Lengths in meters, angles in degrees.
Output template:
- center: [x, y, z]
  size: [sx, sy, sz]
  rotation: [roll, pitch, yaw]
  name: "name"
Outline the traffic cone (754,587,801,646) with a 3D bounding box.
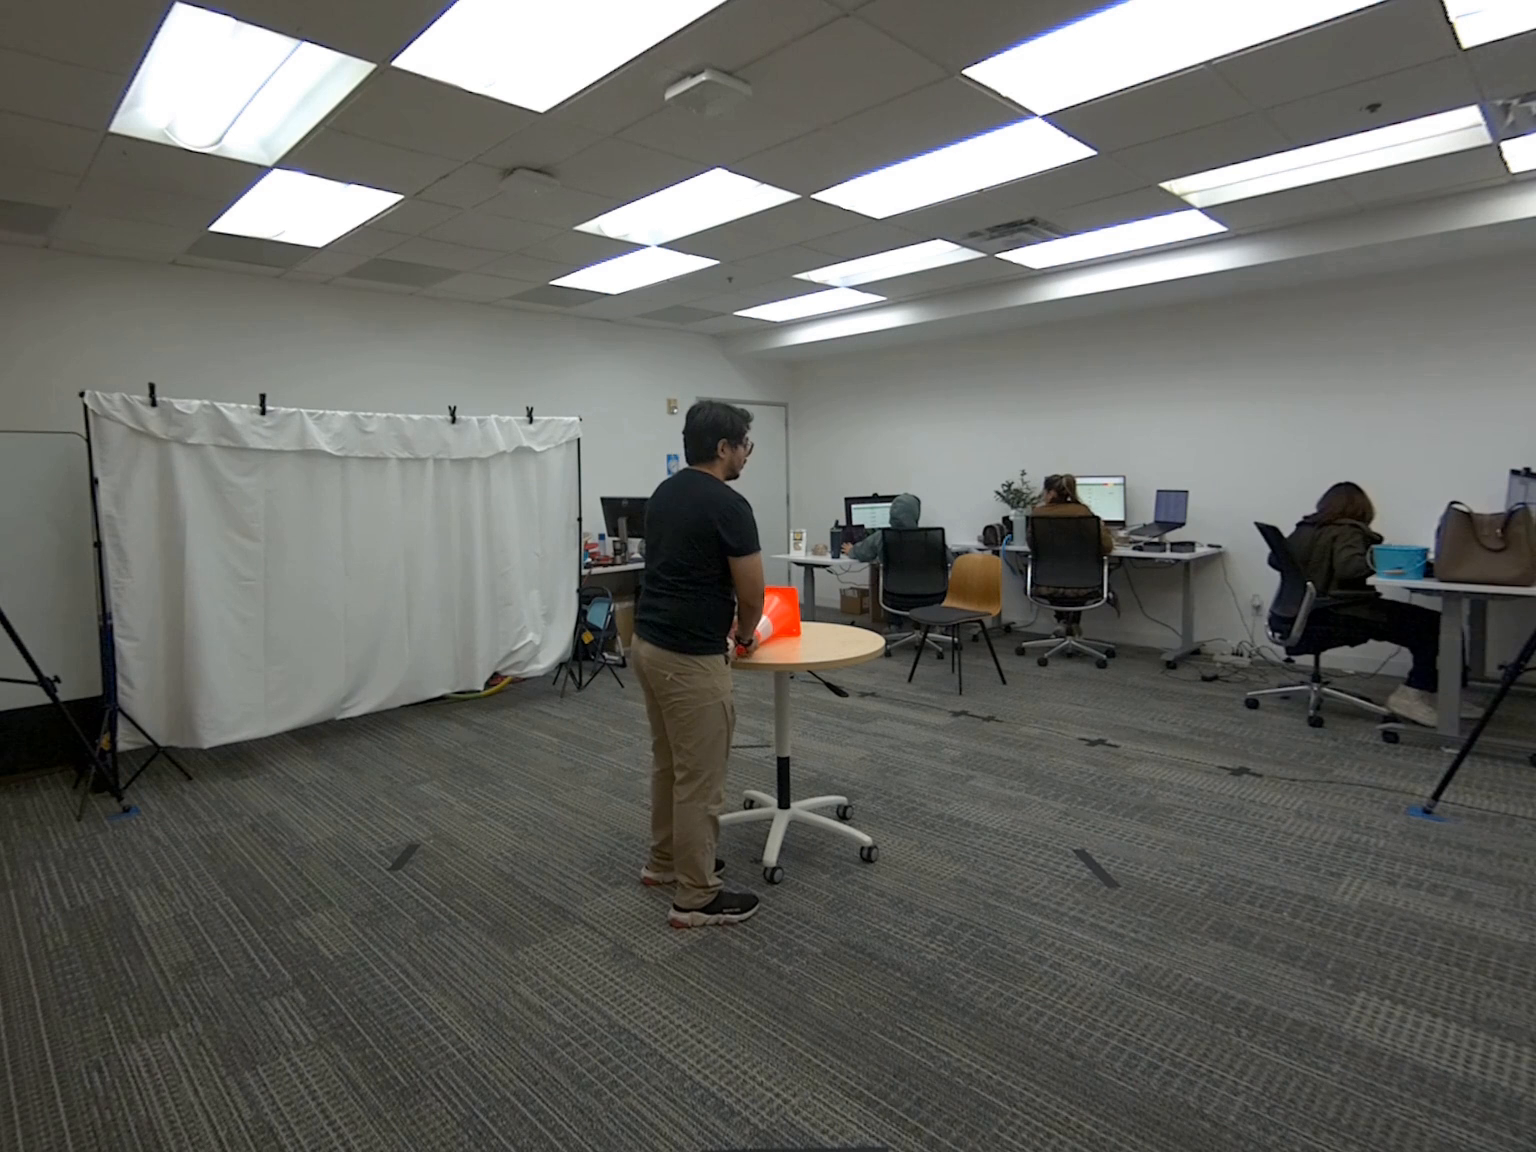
- center: [-0.039, 0.202, 3.107]
  size: [0.207, 0.201, 0.382]
  rotation: [0, 20, 22]
  name: "traffic cone"
